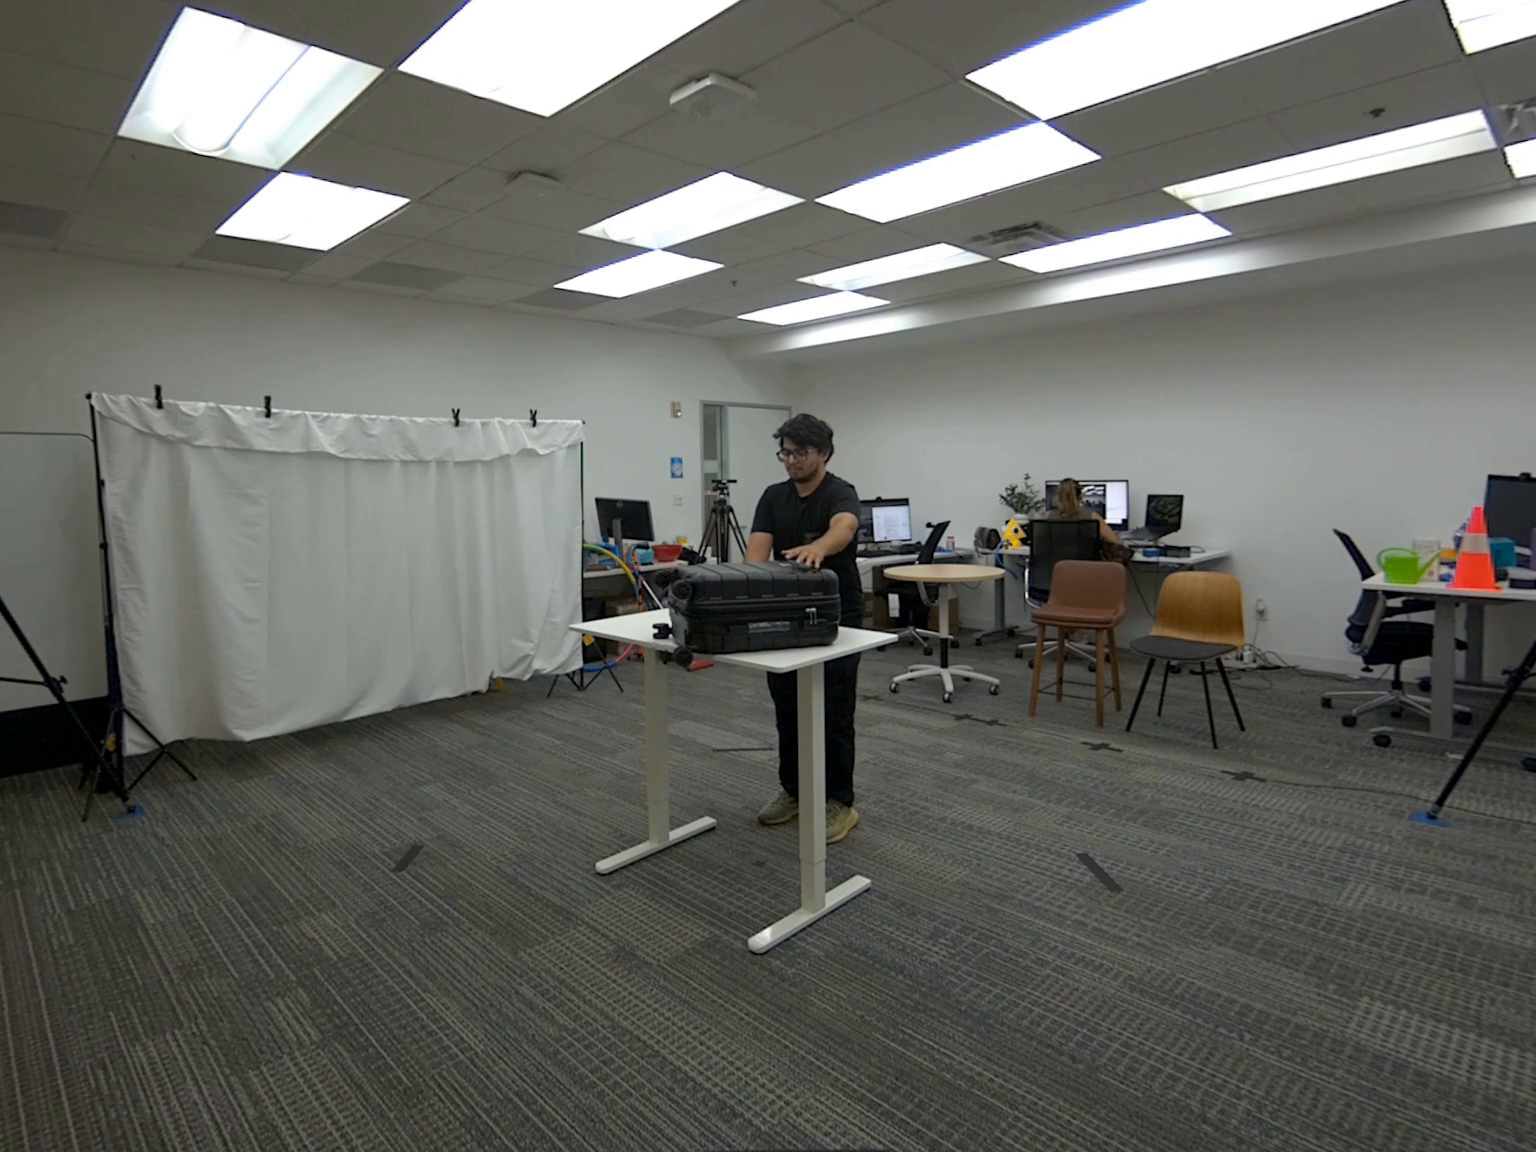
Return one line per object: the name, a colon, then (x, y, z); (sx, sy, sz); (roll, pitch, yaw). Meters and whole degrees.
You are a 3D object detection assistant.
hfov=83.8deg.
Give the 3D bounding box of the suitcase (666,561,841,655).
suitcase: (-0.065, 0.096, 2.721); (0.541, 0.247, 0.383); (-3, 6, -17)
